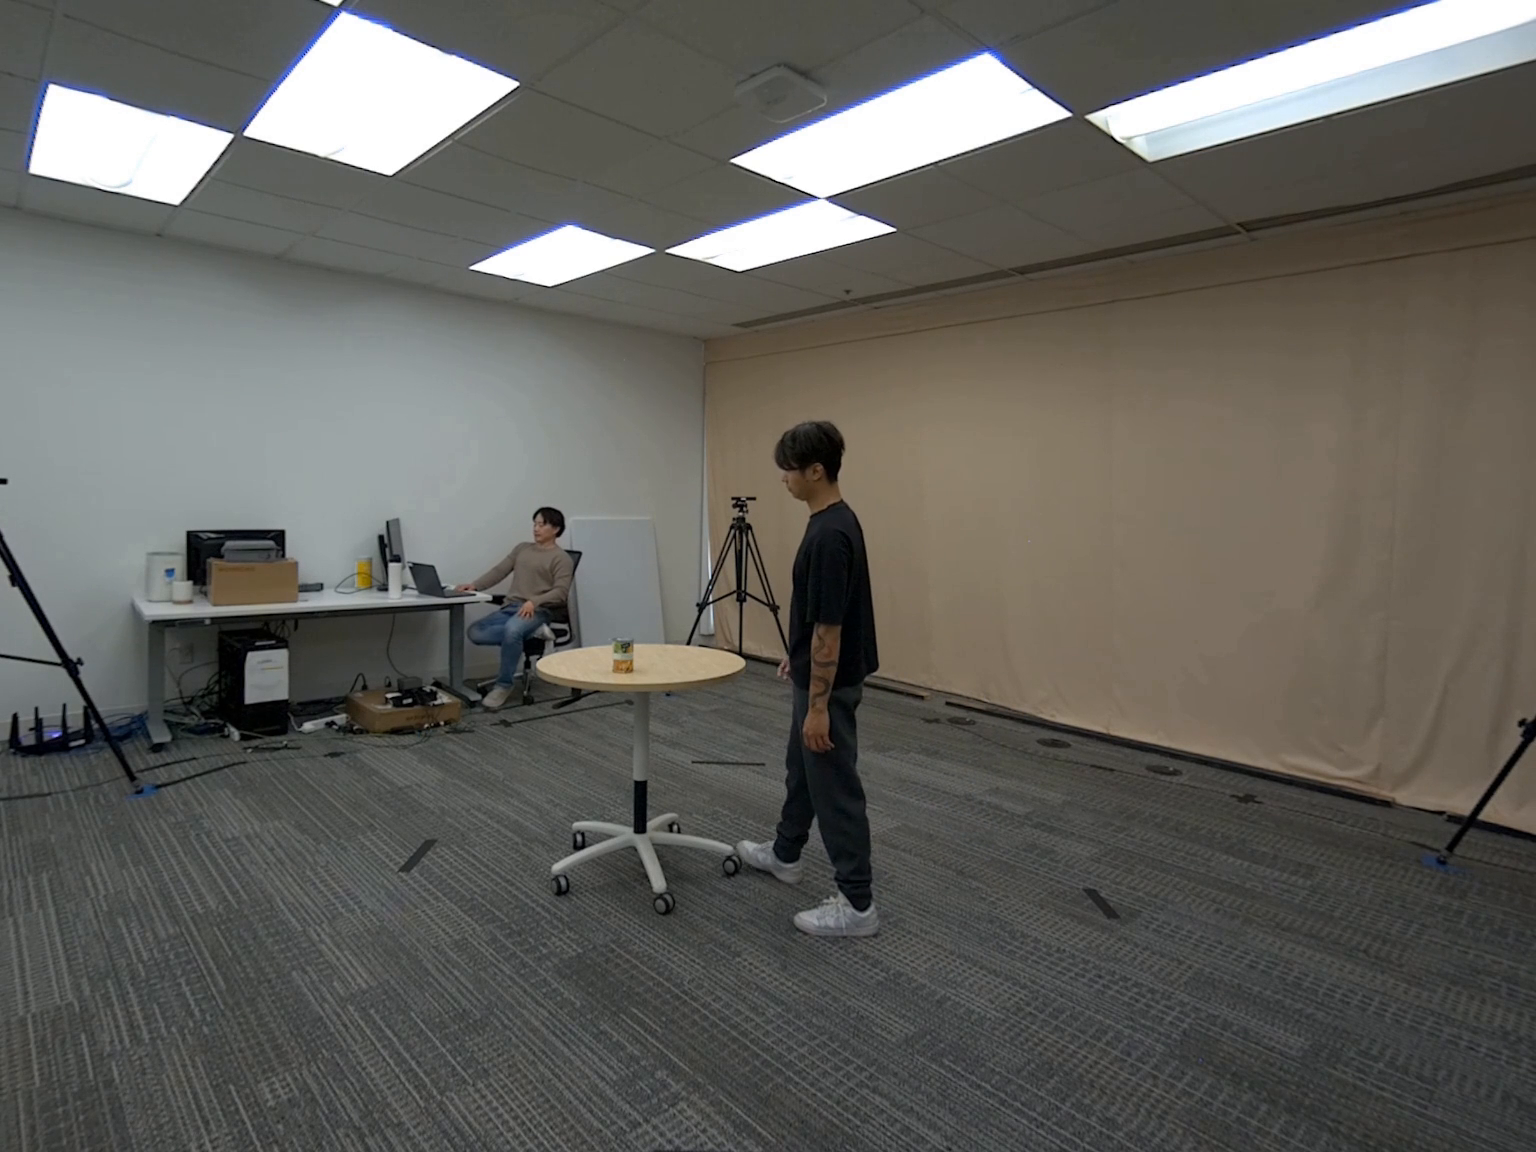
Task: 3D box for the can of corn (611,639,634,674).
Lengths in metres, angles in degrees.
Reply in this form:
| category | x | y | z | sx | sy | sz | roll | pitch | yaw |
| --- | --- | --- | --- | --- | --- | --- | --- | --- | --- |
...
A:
| category | x | y | z | sx | sy | sz | roll | pitch | yaw |
| --- | --- | --- | --- | --- | --- | --- | --- | --- | --- |
| can of corn | -0.505 | 0.275 | 2.923 | 0.074 | 0.110 | 0.074 | 0 | 5 | -1 |
